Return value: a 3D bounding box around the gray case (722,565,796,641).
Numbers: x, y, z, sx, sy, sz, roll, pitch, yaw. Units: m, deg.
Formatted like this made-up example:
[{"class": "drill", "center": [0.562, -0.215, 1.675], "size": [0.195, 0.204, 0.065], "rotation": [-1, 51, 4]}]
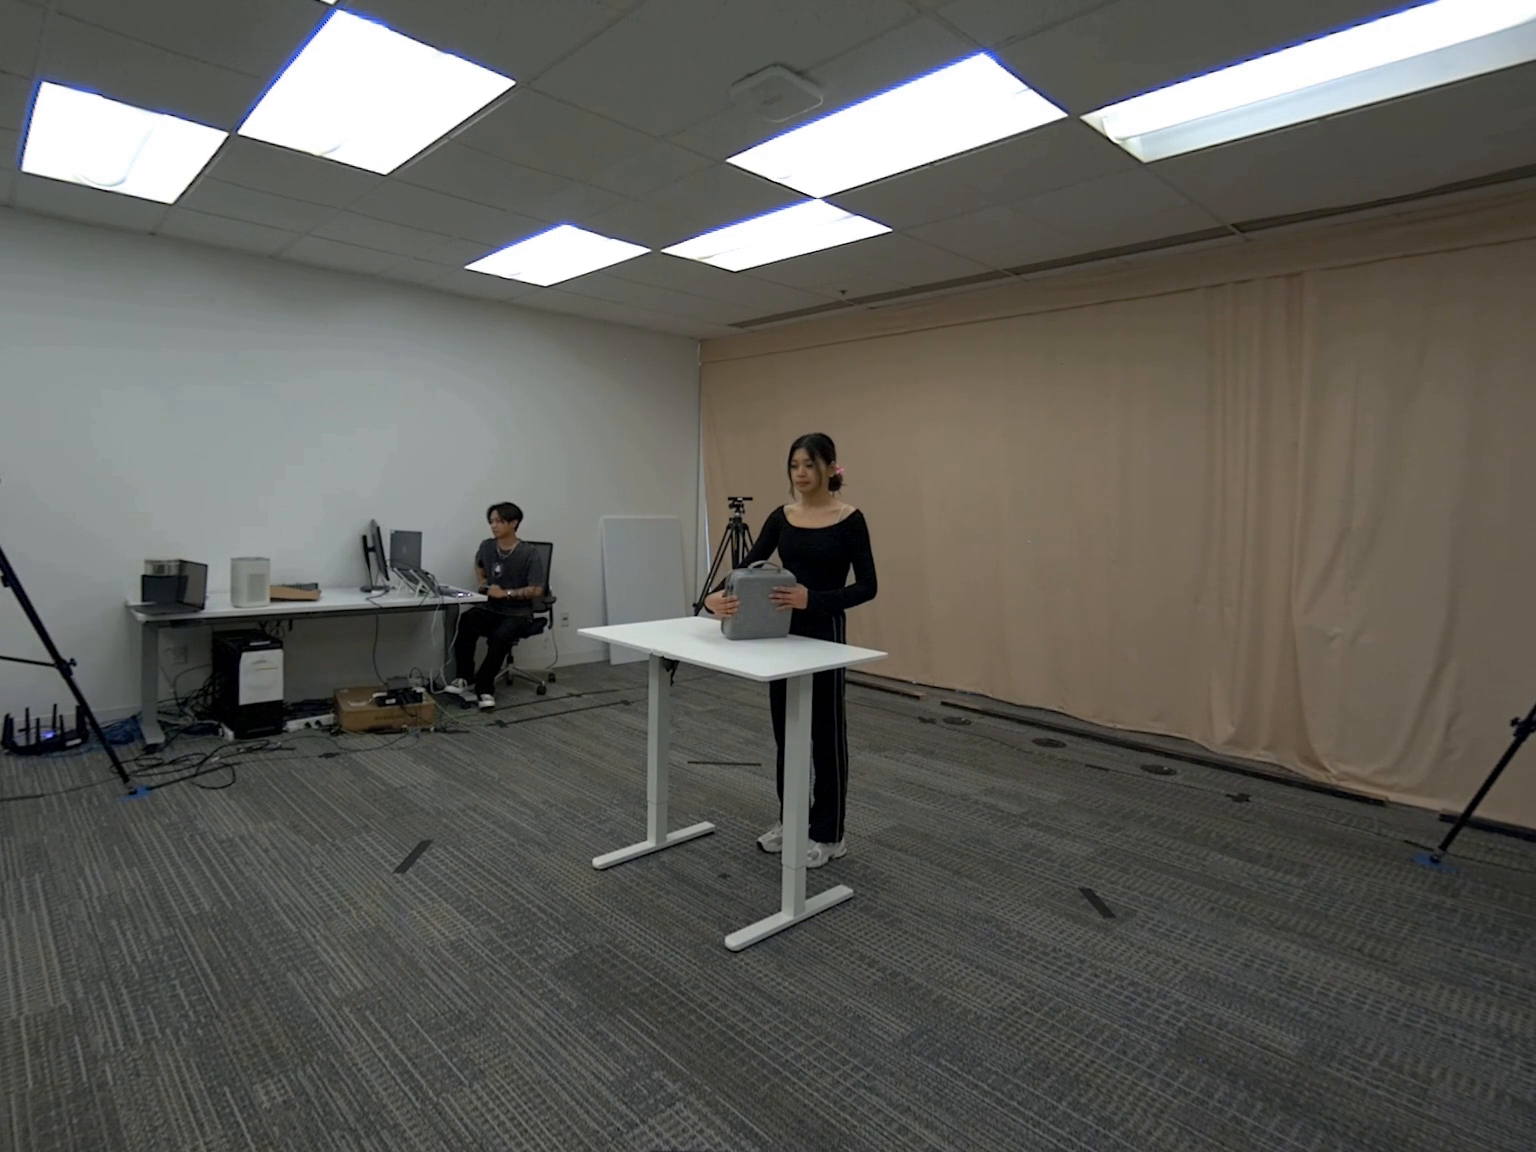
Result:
[{"class": "gray case", "center": [-0.041, 0.100, 3.070], "size": [0.252, 0.258, 0.107], "rotation": [-1, 16, -24]}]
